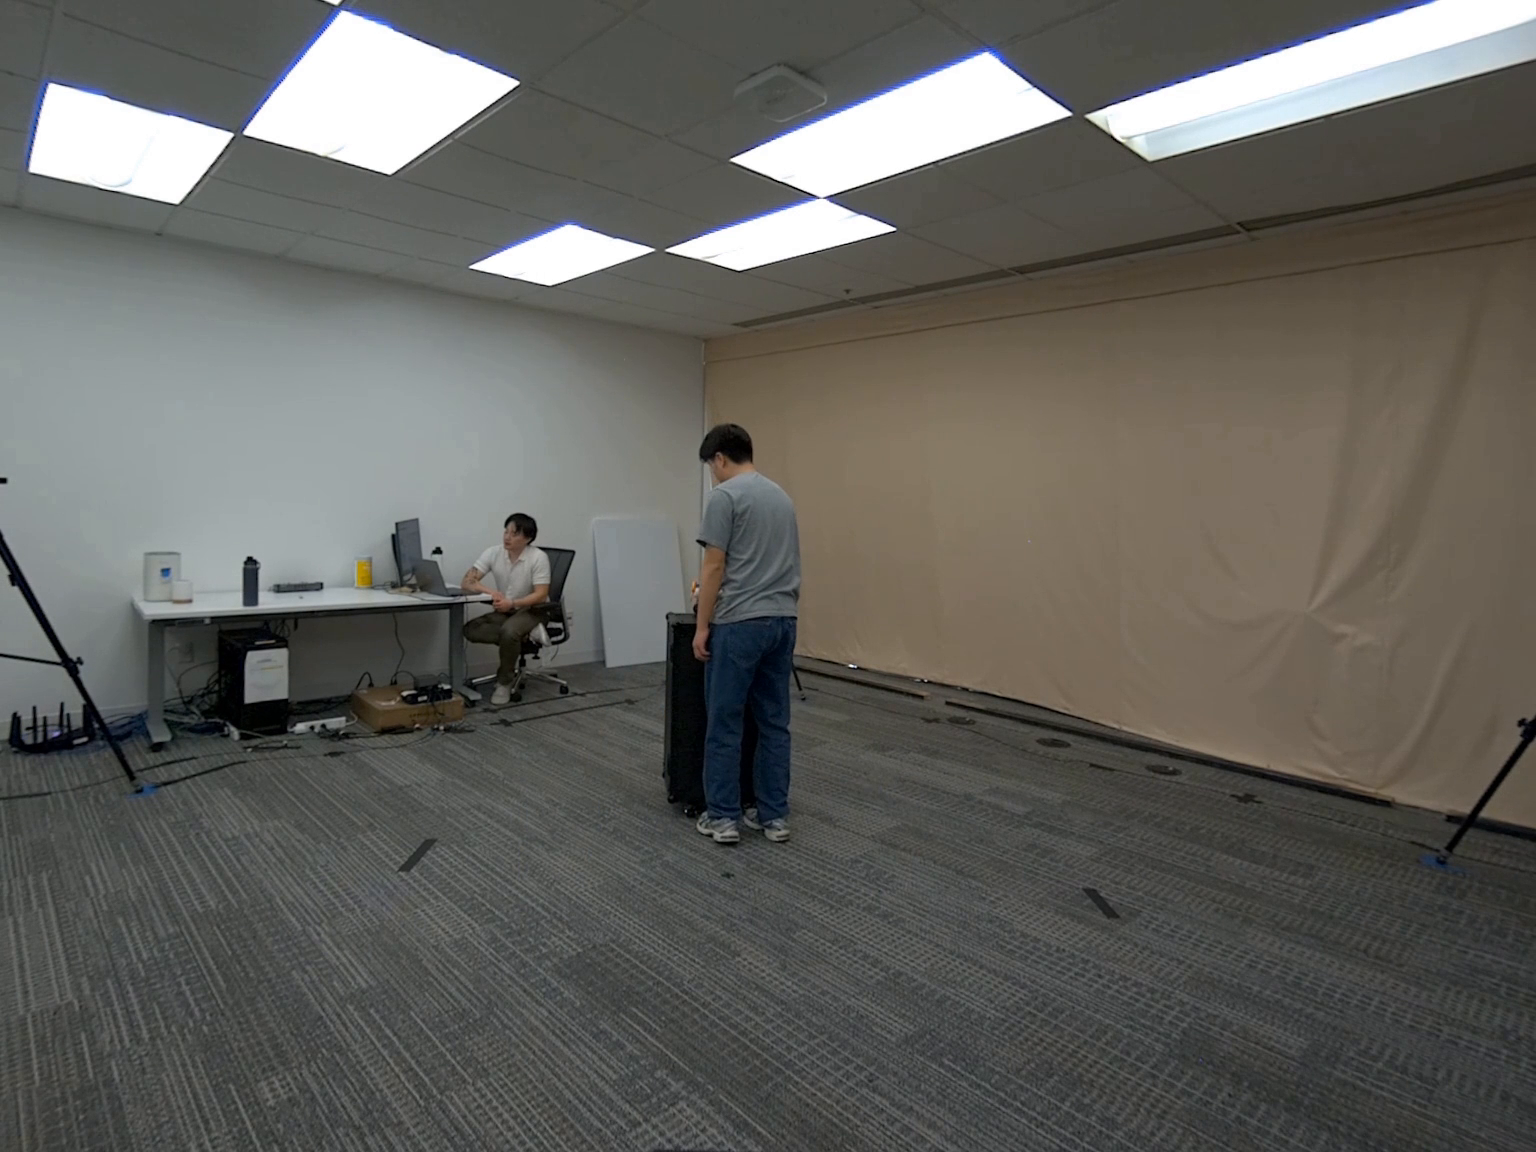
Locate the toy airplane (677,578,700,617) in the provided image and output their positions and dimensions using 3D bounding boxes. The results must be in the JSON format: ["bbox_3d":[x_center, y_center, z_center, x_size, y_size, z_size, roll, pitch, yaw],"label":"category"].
[{"bbox_3d":[-0.242,0.102,3.939,0.252,0.157,0.256,7,-11,-40],"label":"toy airplane"}]
